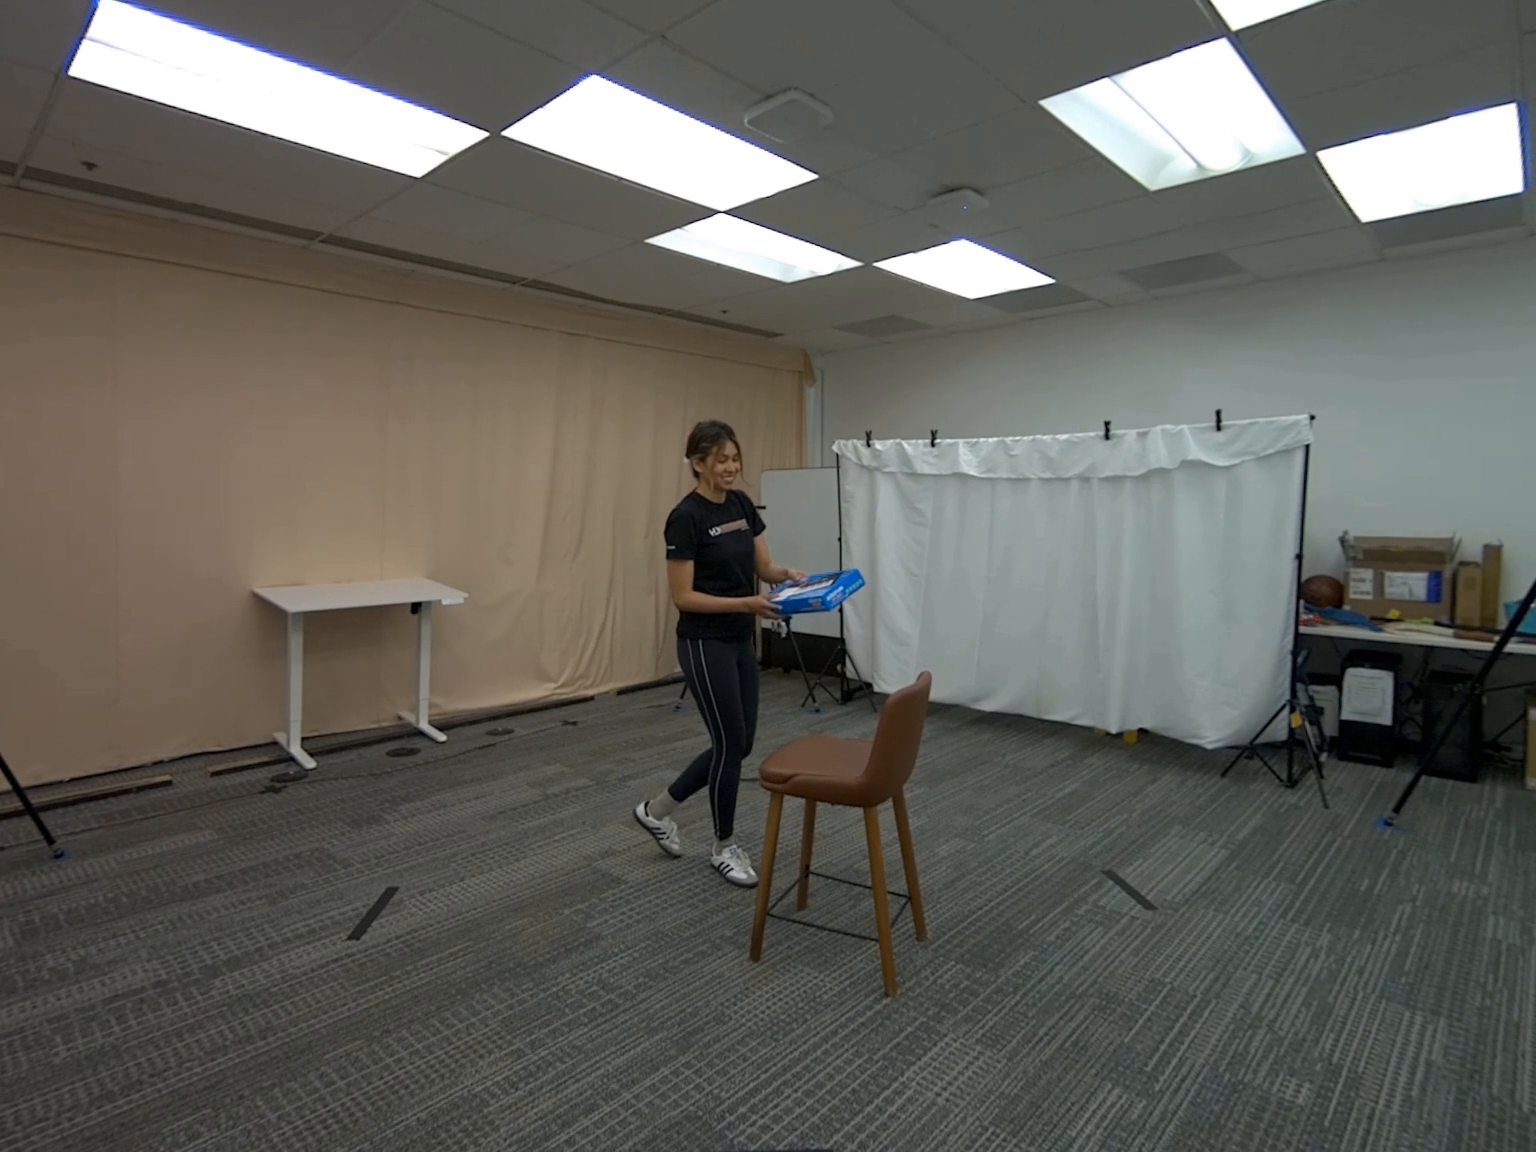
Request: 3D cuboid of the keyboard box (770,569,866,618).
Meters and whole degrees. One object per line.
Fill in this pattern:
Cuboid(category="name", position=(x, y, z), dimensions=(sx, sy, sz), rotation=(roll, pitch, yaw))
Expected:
Cuboid(category="keyboard box", position=(0.133, 0.066, 2.858), dimensions=(0.174, 0.058, 0.446), rotation=(-35, 11, -26))
